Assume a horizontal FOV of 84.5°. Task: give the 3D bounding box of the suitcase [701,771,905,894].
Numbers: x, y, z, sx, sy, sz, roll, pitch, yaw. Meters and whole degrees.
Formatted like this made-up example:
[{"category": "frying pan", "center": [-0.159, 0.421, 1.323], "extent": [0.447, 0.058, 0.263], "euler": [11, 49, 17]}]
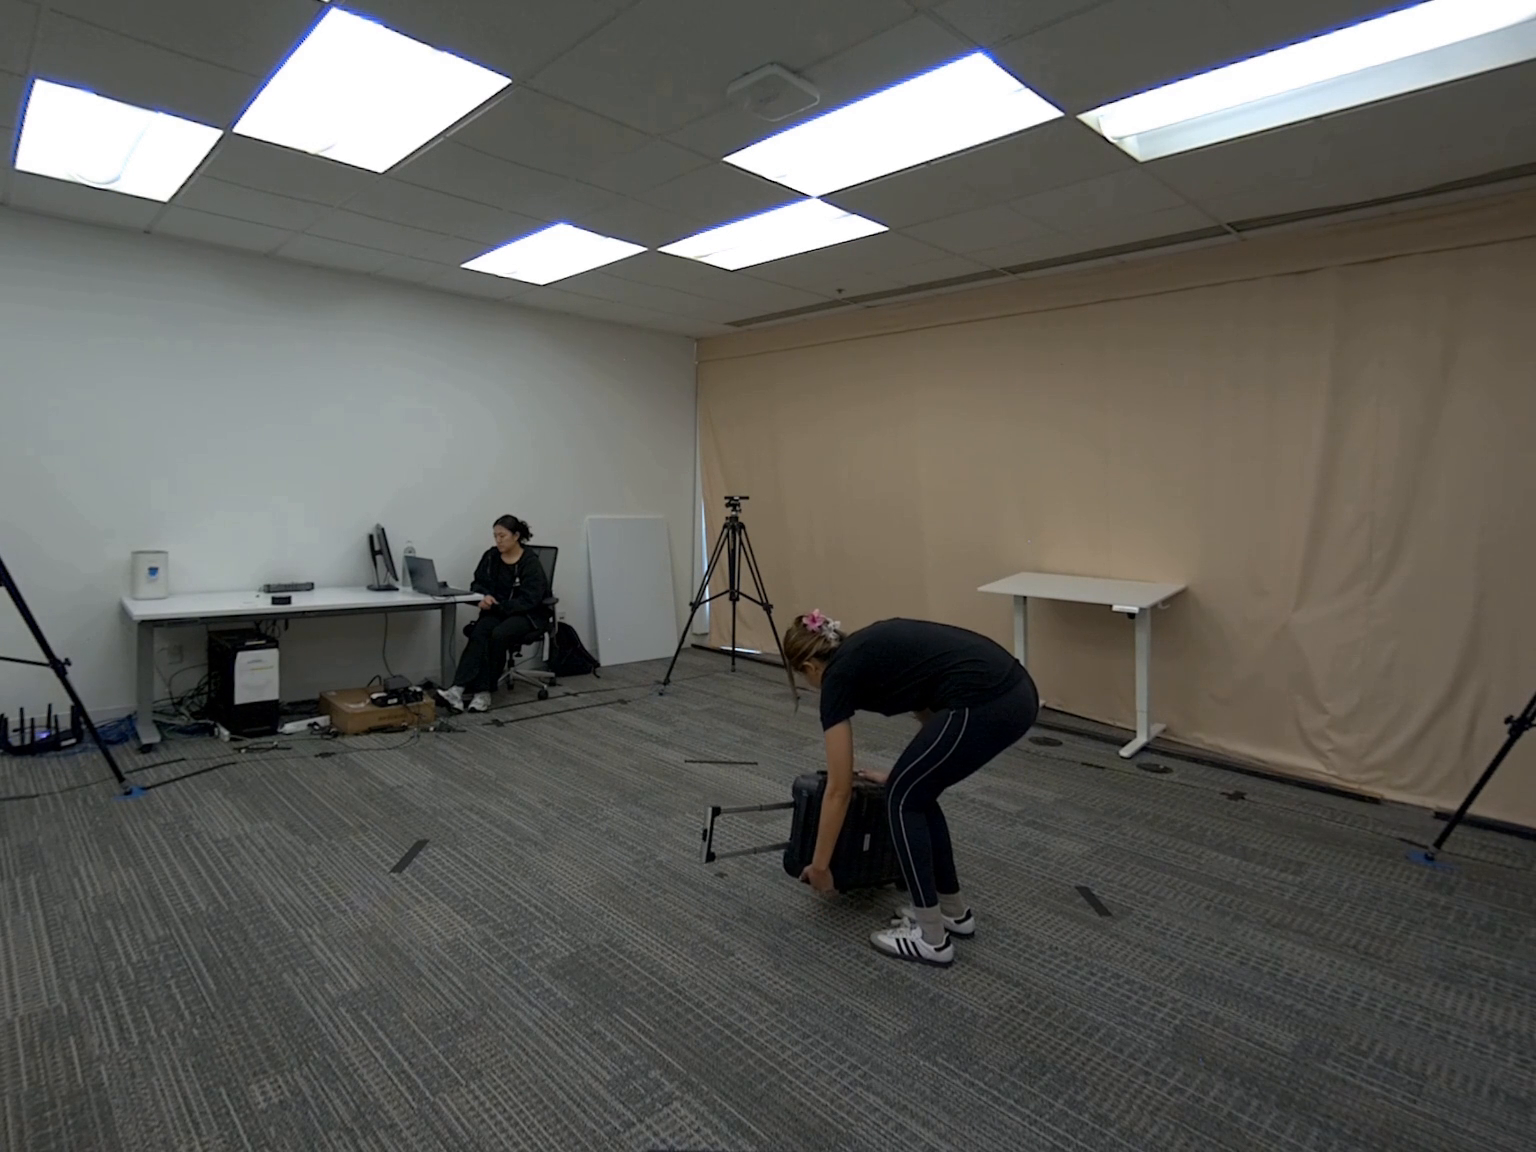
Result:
[{"category": "suitcase", "center": [0.176, 0.838, 2.769], "extent": [0.263, 0.386, 0.950], "euler": [4, -9, 35]}]
